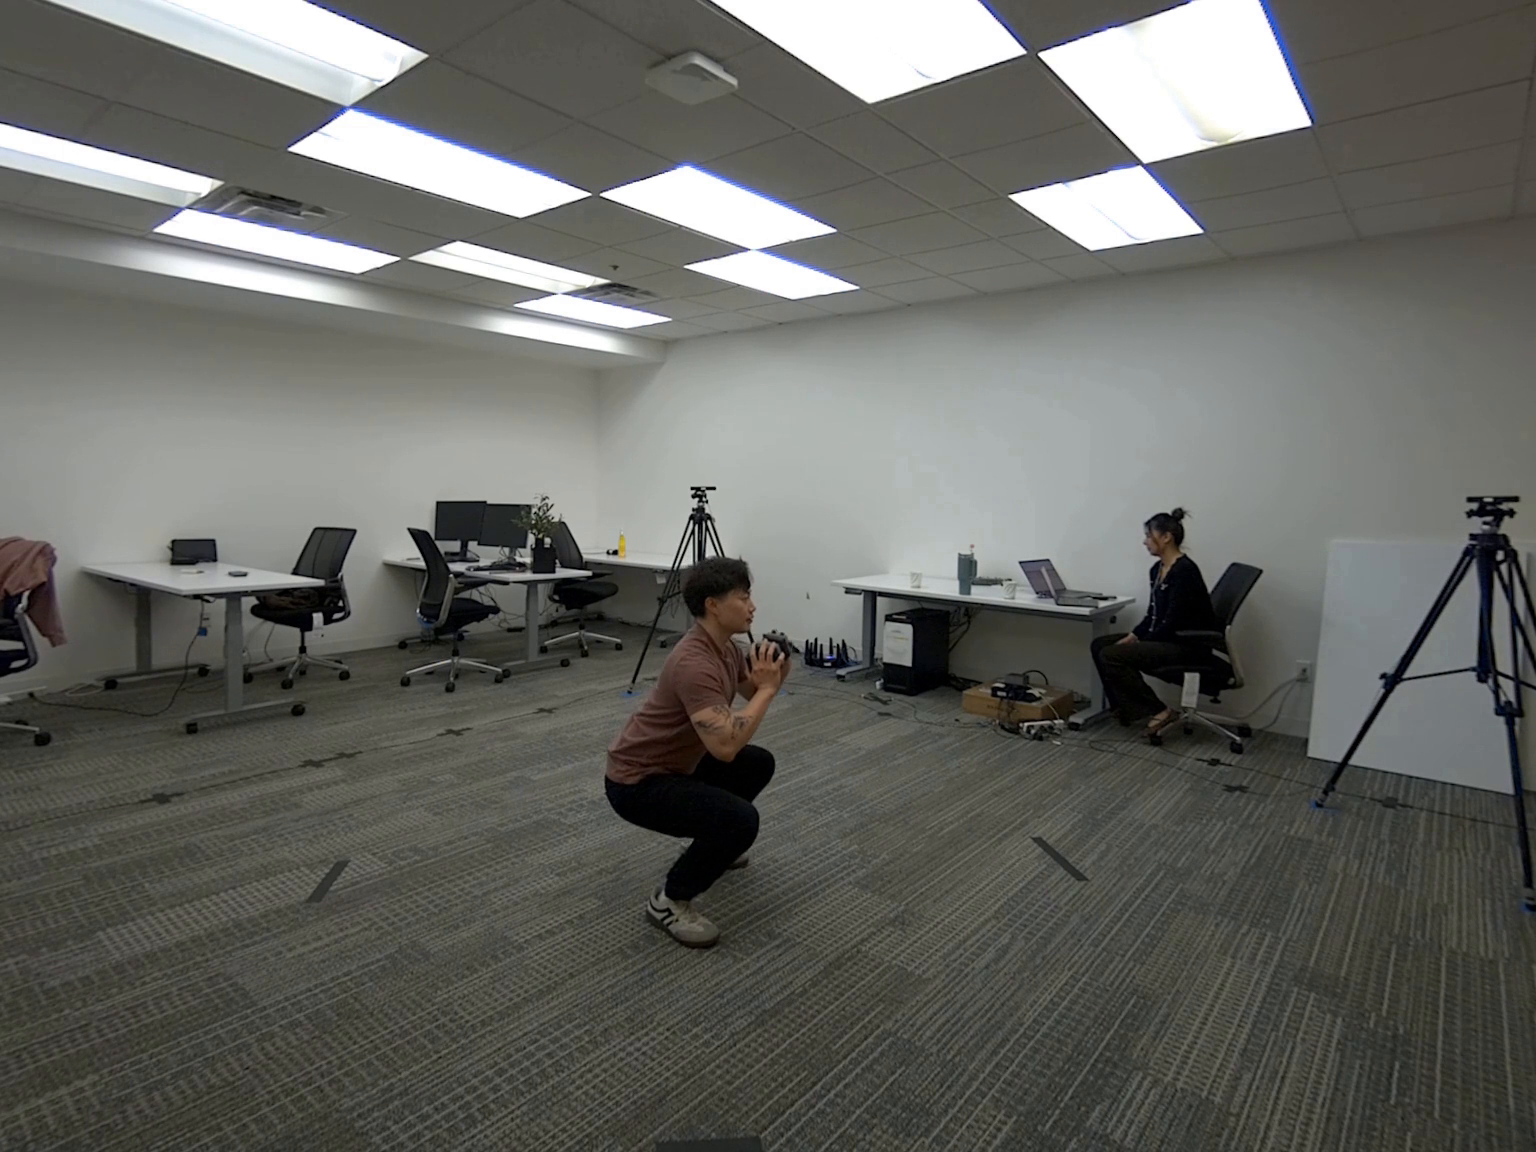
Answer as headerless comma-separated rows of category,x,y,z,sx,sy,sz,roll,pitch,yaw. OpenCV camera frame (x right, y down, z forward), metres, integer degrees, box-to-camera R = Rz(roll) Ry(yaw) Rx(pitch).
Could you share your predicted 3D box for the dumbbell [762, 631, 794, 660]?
dumbbell,-0.007,0.259,2.783,0.124,0.109,0.290,11,1,7
